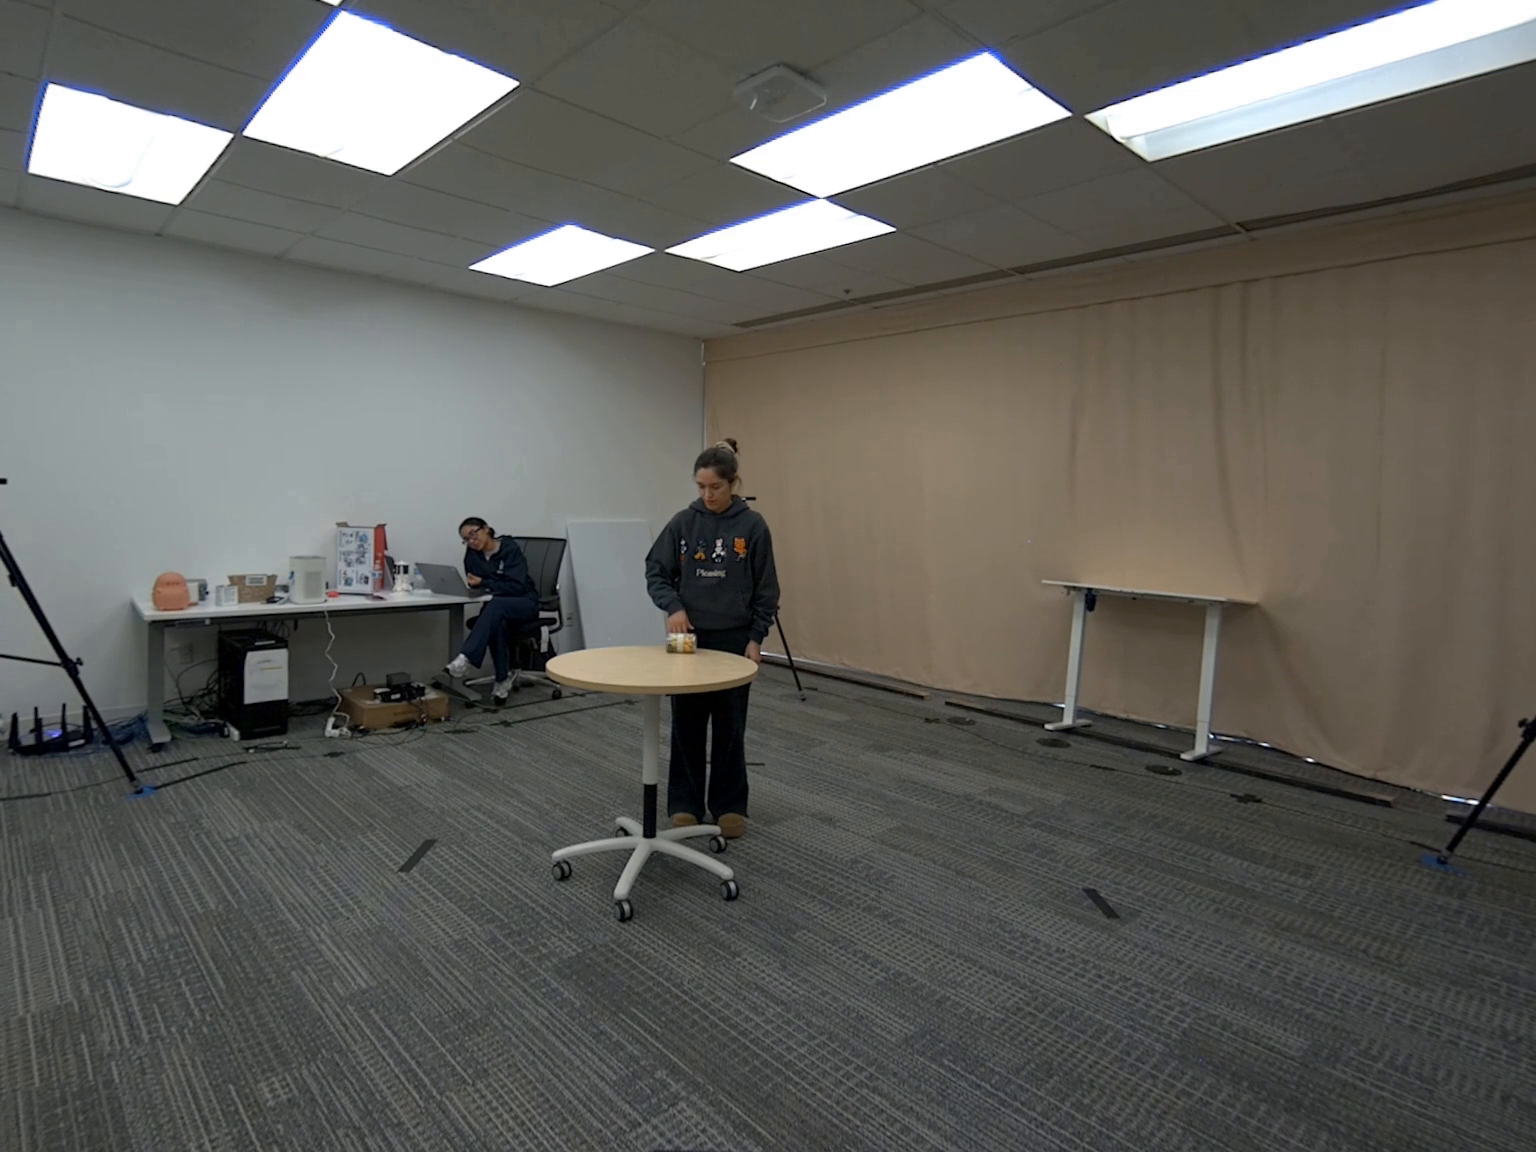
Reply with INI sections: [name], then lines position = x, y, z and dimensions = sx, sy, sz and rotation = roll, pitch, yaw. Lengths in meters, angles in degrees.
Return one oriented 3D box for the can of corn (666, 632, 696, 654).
[can of corn]
position = -0.354, 0.264, 3.313
dimensions = 0.111, 0.074, 0.074
rotation = 4, 5, 6
